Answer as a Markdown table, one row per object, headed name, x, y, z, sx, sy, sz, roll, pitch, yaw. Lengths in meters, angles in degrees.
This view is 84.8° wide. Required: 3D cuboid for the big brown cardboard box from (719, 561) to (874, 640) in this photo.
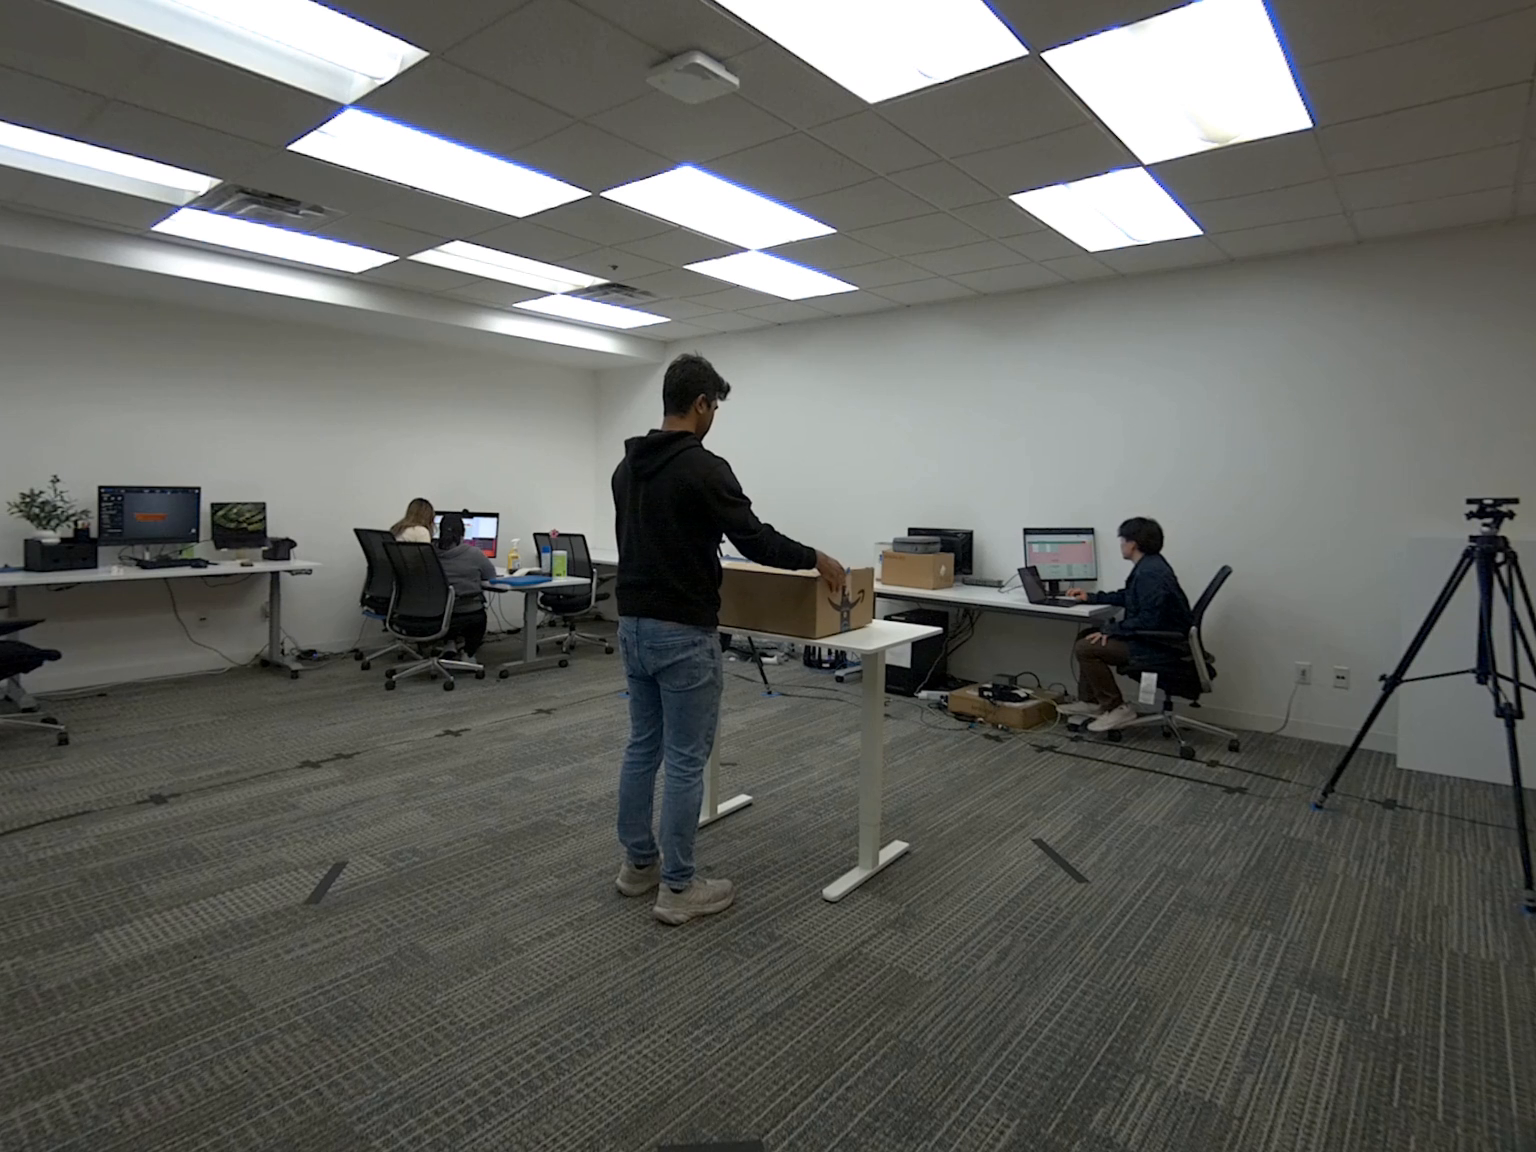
| name | x | y | z | sx | sy | sz | roll | pitch | yaw |
| --- | --- | --- | --- | --- | --- | --- | --- | --- | --- |
| big brown cardboard box | 0.033 | 0.056 | 3.200 | 0.608 | 0.232 | 0.406 | 6 | 8 | 36 |
